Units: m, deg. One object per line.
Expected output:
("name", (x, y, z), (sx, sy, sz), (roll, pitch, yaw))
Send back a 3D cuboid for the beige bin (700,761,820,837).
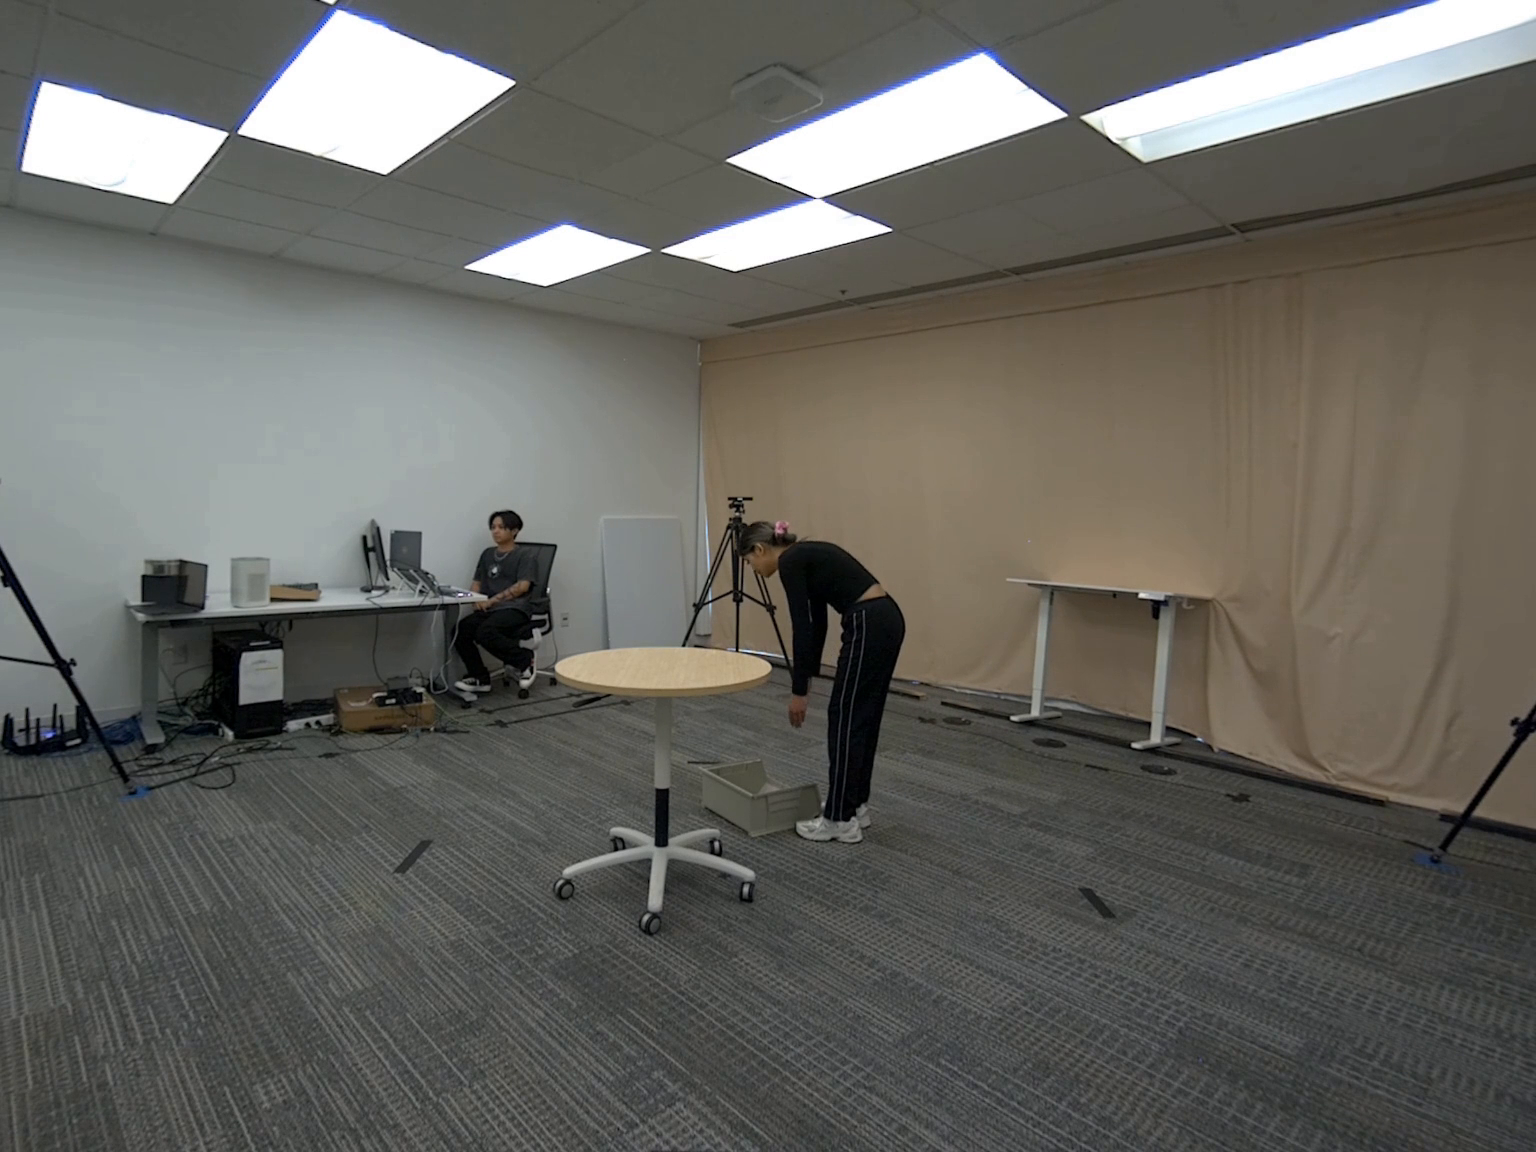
("beige bin", (-0.046, 0.963, 3.734), (0.369, 0.188, 0.433), (-2, 6, -34))
